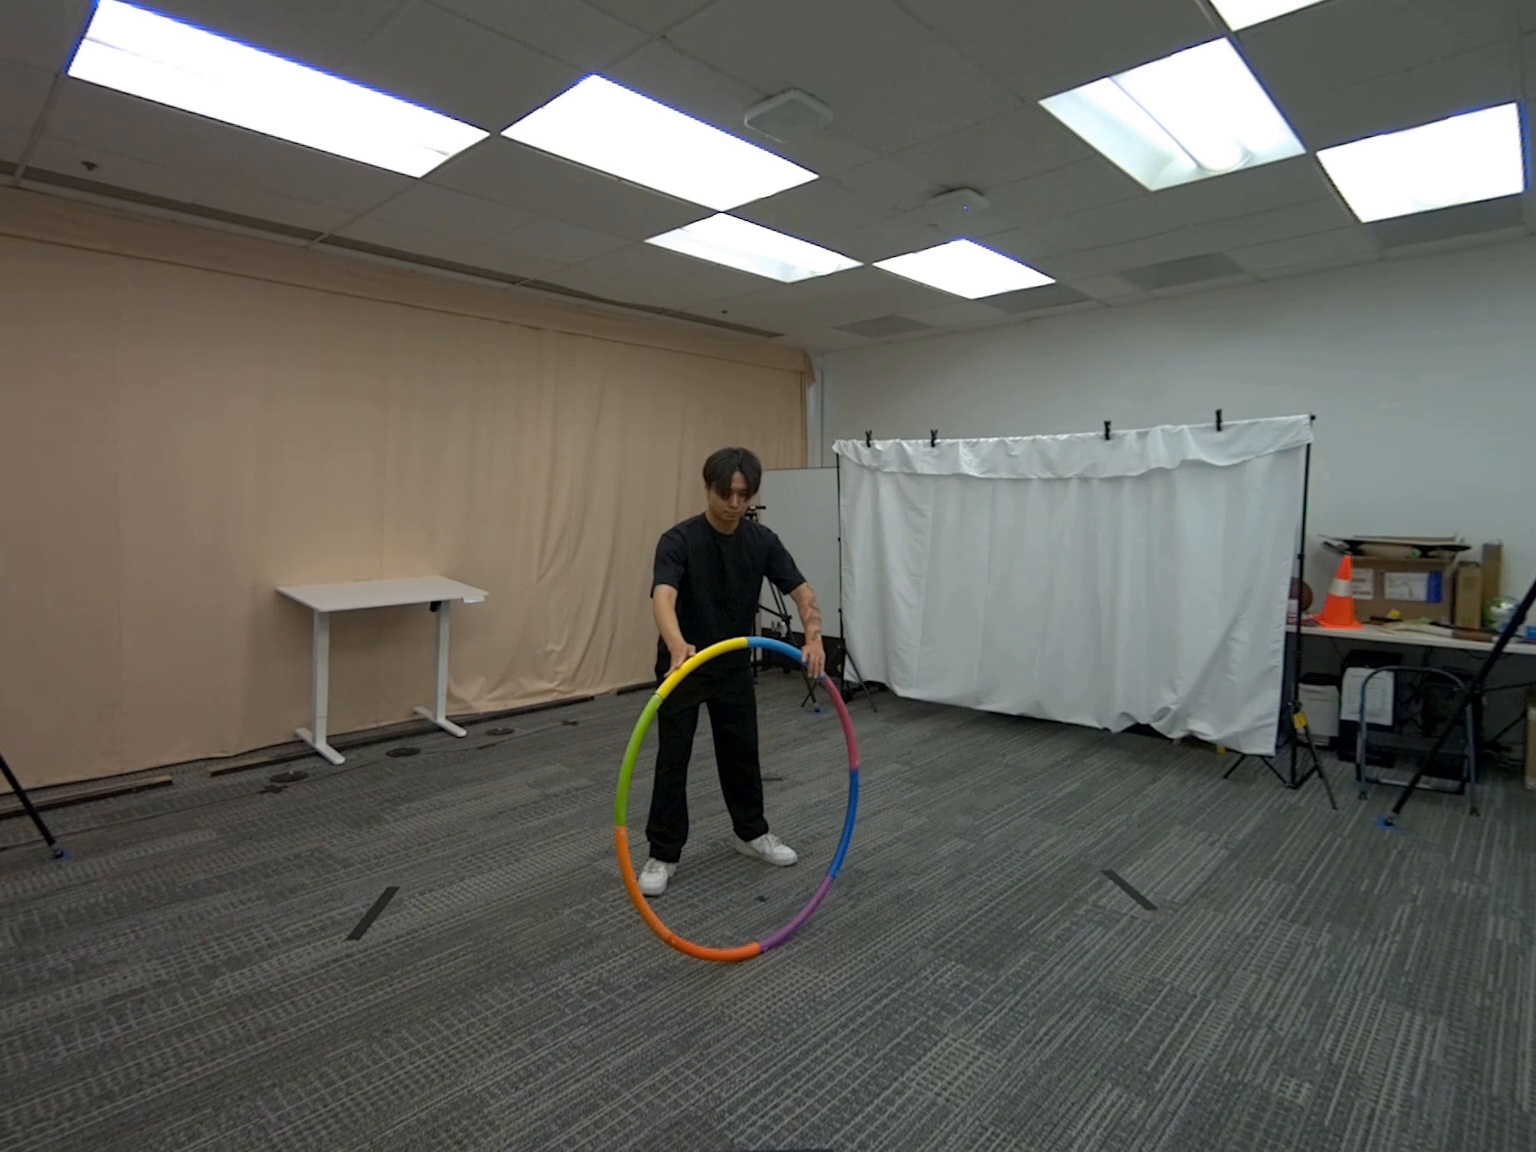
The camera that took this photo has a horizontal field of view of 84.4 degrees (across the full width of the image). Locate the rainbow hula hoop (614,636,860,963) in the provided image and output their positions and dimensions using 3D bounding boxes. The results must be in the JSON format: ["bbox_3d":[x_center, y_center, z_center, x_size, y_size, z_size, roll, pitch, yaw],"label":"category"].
[{"bbox_3d":[-0.048,0.691,2.647,0.949,0.979,0.036,-3,-2,-40],"label":"rainbow hula hoop"}]
